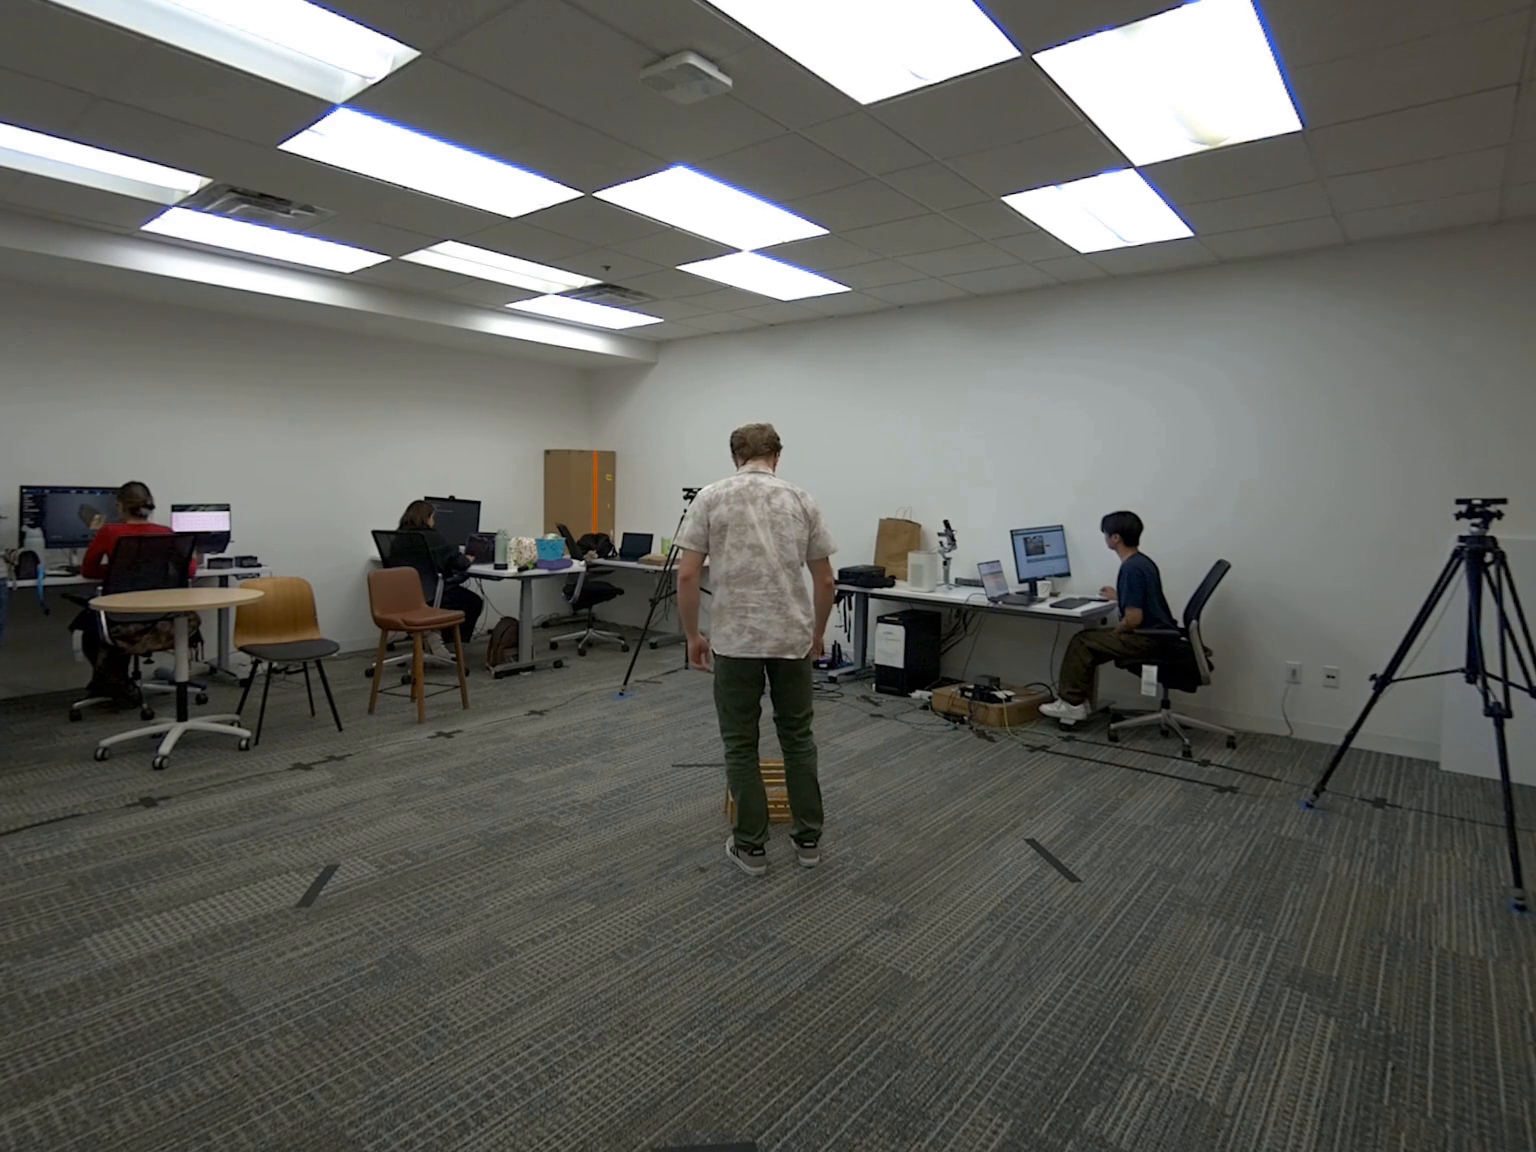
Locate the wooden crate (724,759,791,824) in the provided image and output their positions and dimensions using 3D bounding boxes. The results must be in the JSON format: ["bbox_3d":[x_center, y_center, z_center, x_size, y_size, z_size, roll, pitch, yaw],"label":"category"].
[{"bbox_3d":[-0.027,0.882,3.656,0.322,0.272,0.305,0,5,-7],"label":"wooden crate"}]
